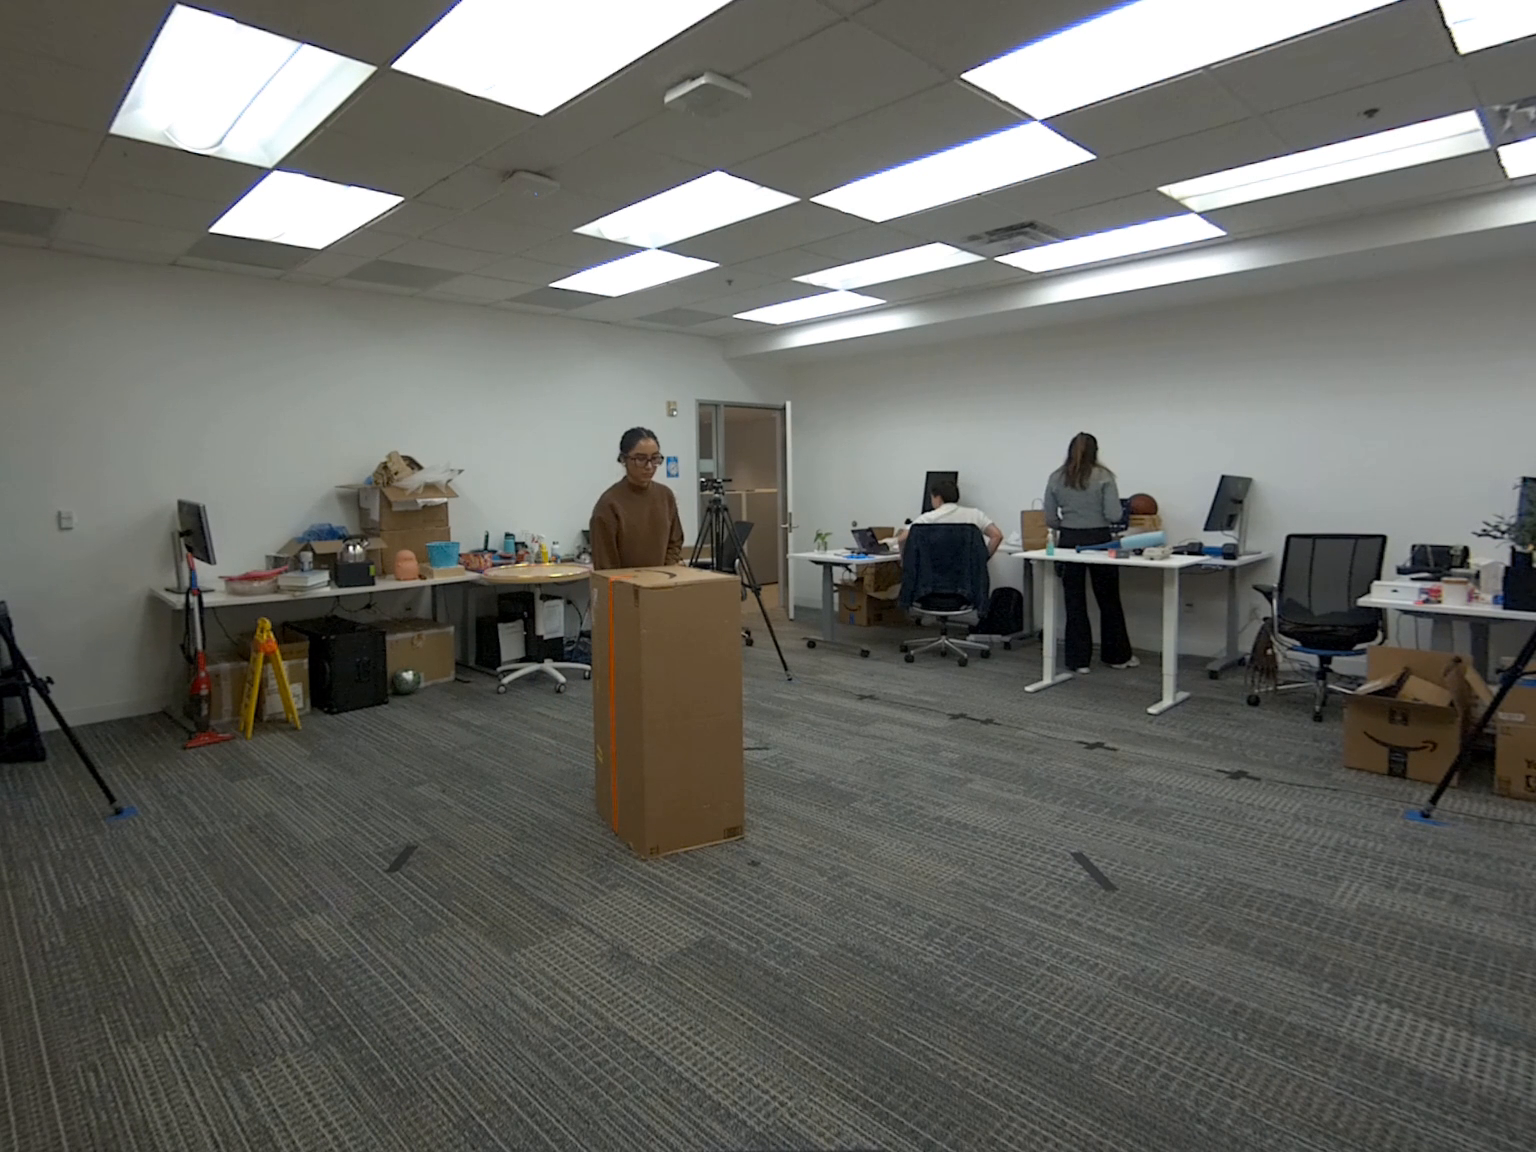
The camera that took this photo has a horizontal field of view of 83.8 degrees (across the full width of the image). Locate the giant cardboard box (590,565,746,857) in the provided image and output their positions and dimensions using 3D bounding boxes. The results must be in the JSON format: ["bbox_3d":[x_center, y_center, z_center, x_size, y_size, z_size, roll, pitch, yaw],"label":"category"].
[{"bbox_3d":[-0.416,0.504,3.449,0.416,1.022,0.593,-3,4,-30],"label":"giant cardboard box"}]
